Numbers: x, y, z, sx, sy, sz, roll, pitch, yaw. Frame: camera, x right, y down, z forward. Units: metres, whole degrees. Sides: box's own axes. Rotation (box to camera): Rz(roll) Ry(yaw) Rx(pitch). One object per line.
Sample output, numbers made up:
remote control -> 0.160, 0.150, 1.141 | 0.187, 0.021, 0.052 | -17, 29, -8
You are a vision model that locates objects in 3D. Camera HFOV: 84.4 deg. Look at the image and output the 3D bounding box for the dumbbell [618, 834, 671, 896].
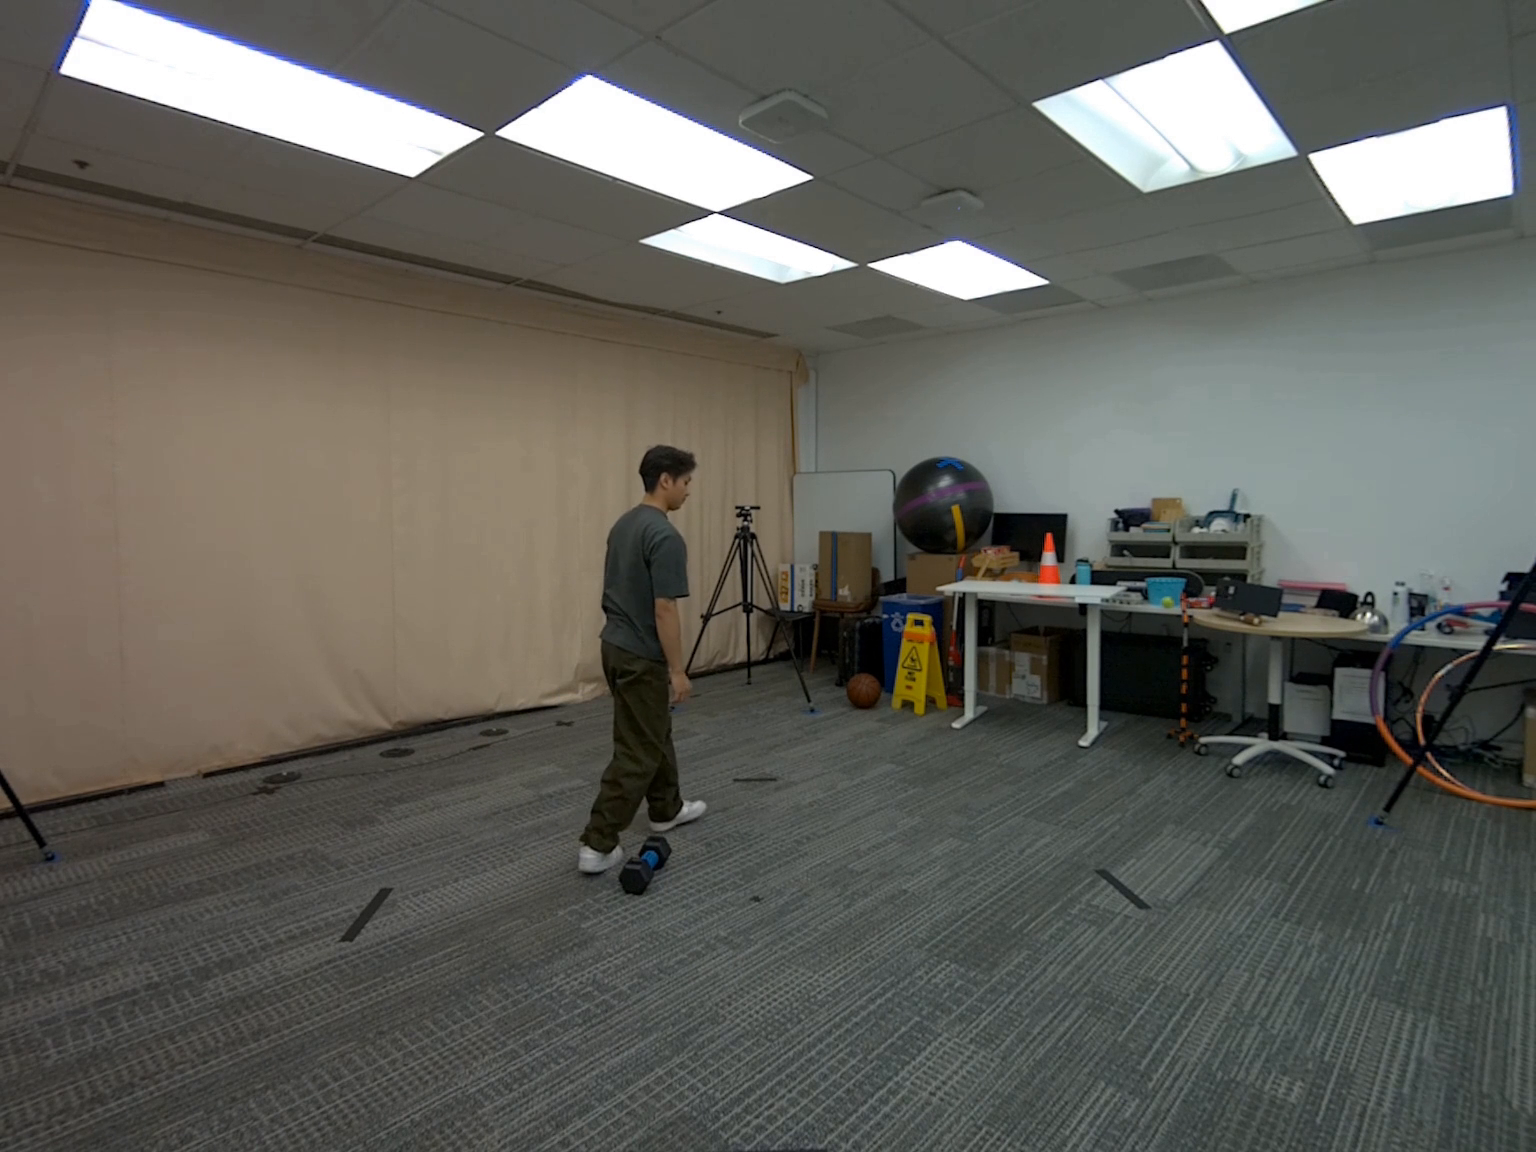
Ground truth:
dumbbell -> -0.460, 1.074, 3.152 | 0.124, 0.108, 0.290 | 3, 6, 11
